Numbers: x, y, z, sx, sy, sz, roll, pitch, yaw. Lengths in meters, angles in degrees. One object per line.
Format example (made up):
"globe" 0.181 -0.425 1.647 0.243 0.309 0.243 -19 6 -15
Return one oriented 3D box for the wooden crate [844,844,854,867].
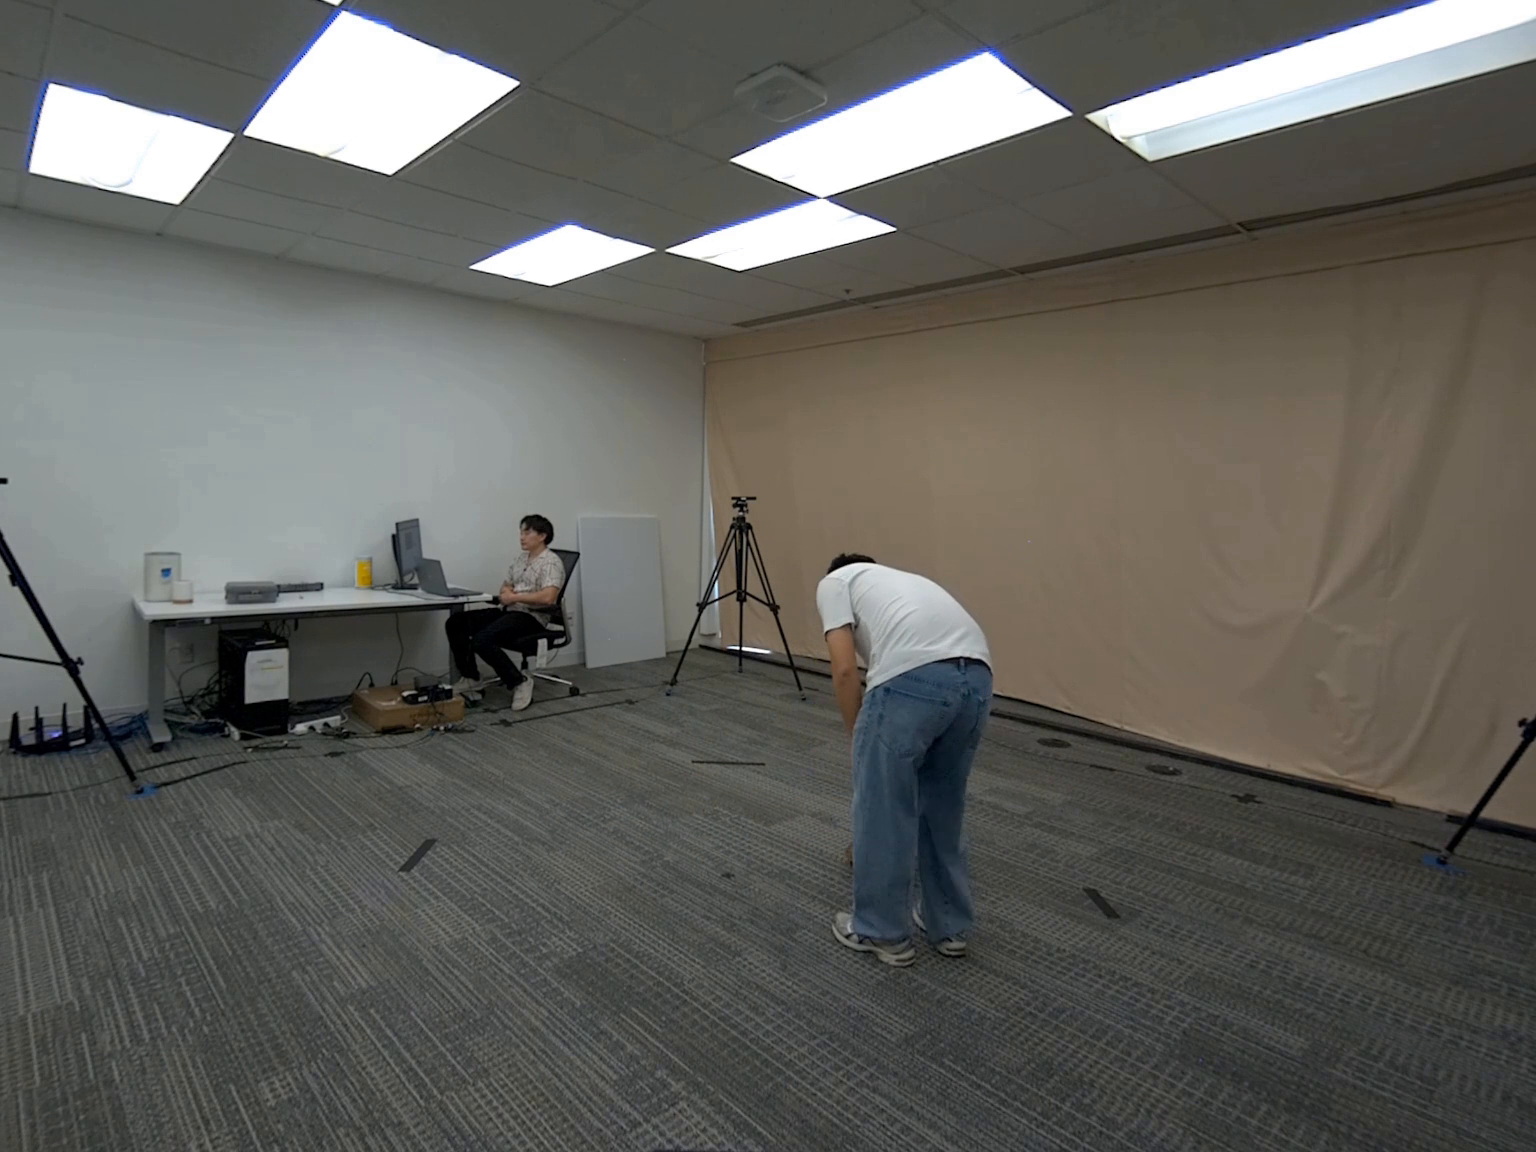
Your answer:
"wooden crate" 0.442 0.925 3.159 0.302 0.278 0.319 2 -25 -1
